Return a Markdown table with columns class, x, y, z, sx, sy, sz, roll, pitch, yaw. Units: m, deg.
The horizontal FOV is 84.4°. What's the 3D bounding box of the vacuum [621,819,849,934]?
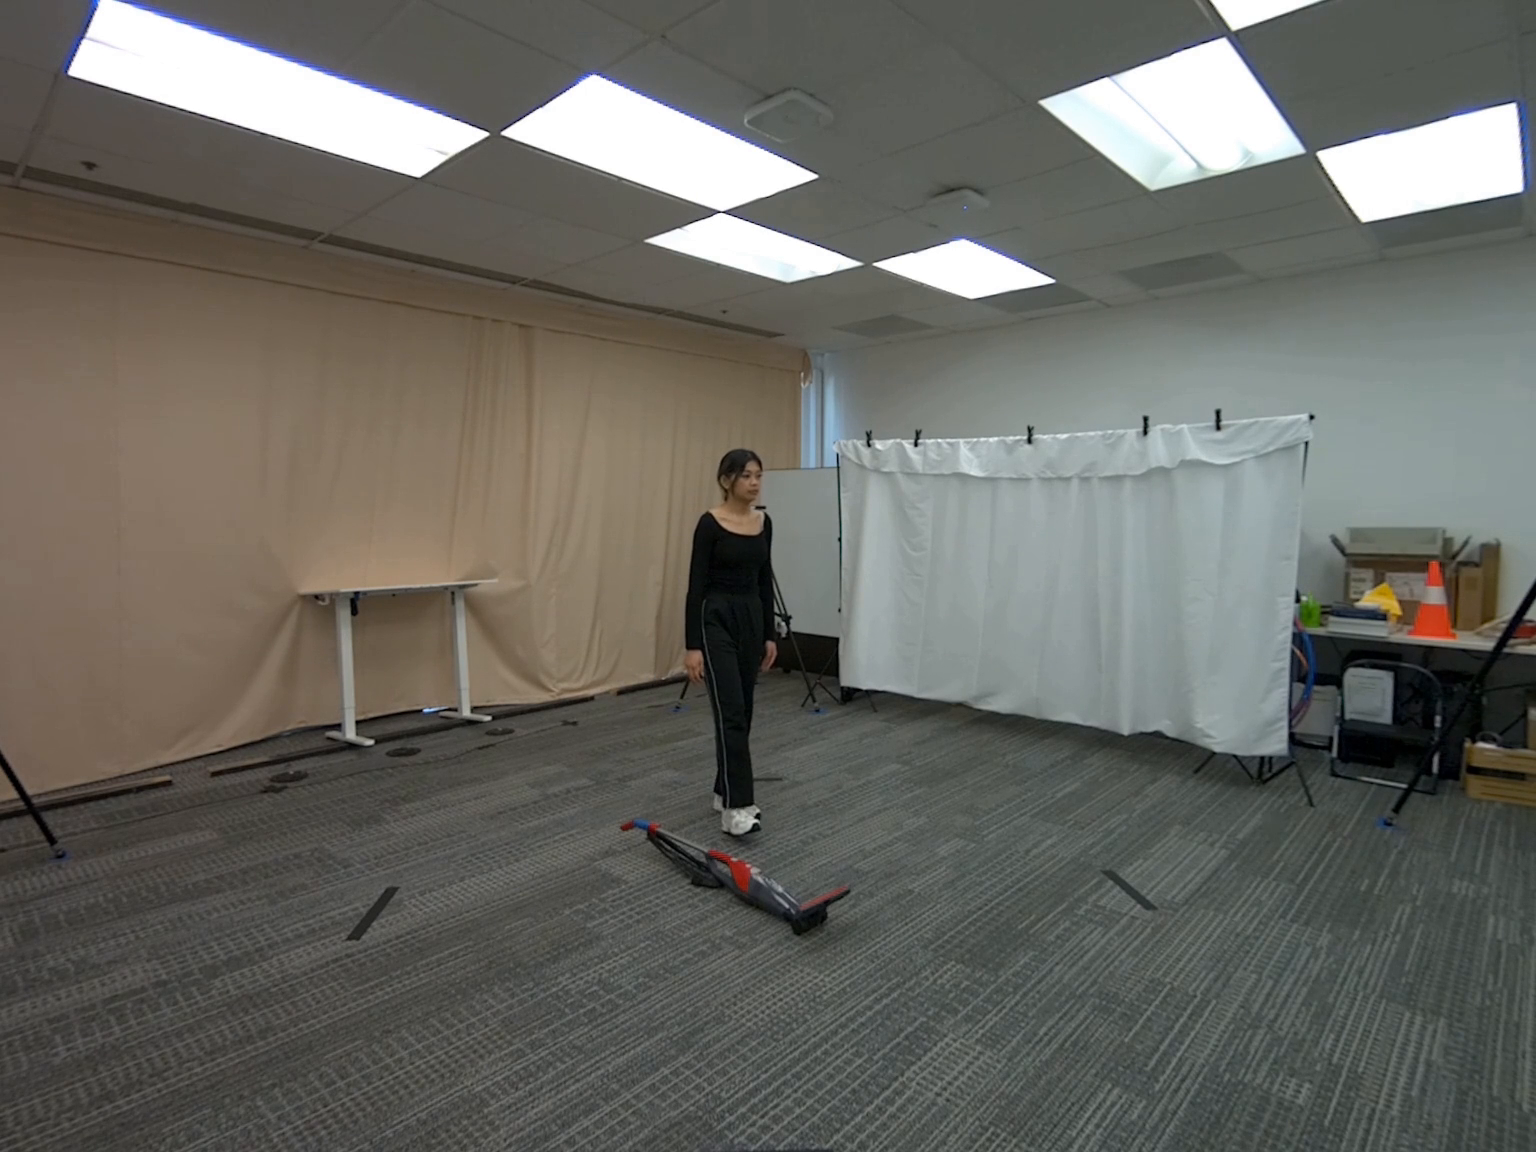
| class | x | y | z | sx | sy | sz | roll | pitch | yaw |
| --- | --- | --- | --- | --- | --- | --- | --- | --- | --- |
| vacuum | -0.214 | 1.077 | 3.122 | 1.084 | 0.144 | 0.244 | 3 | 3 | 44 |
